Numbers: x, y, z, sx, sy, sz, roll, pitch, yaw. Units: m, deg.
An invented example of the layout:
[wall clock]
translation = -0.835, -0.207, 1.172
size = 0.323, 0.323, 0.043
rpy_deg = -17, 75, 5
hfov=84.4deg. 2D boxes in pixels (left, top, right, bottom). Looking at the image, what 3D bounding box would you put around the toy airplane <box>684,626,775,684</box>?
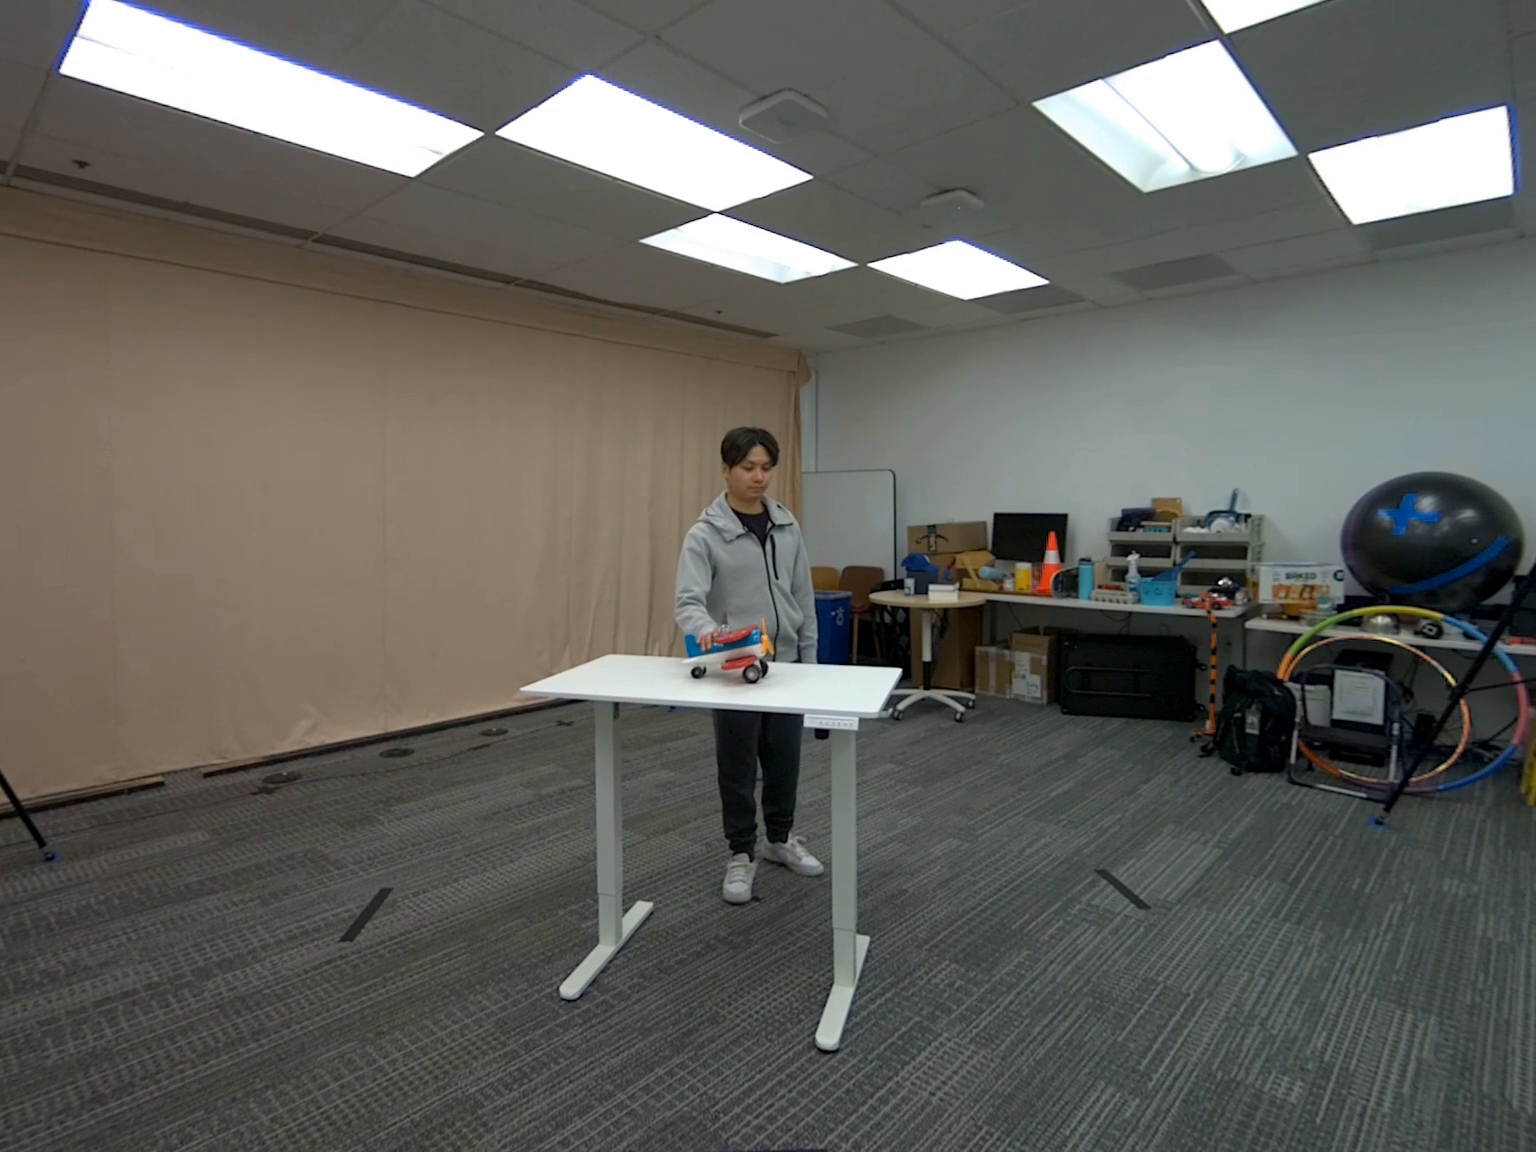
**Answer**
[toy airplane]
translation = -0.124, 0.230, 2.464
size = 0.256, 0.156, 0.255
rpy_deg = -1, 4, -13
